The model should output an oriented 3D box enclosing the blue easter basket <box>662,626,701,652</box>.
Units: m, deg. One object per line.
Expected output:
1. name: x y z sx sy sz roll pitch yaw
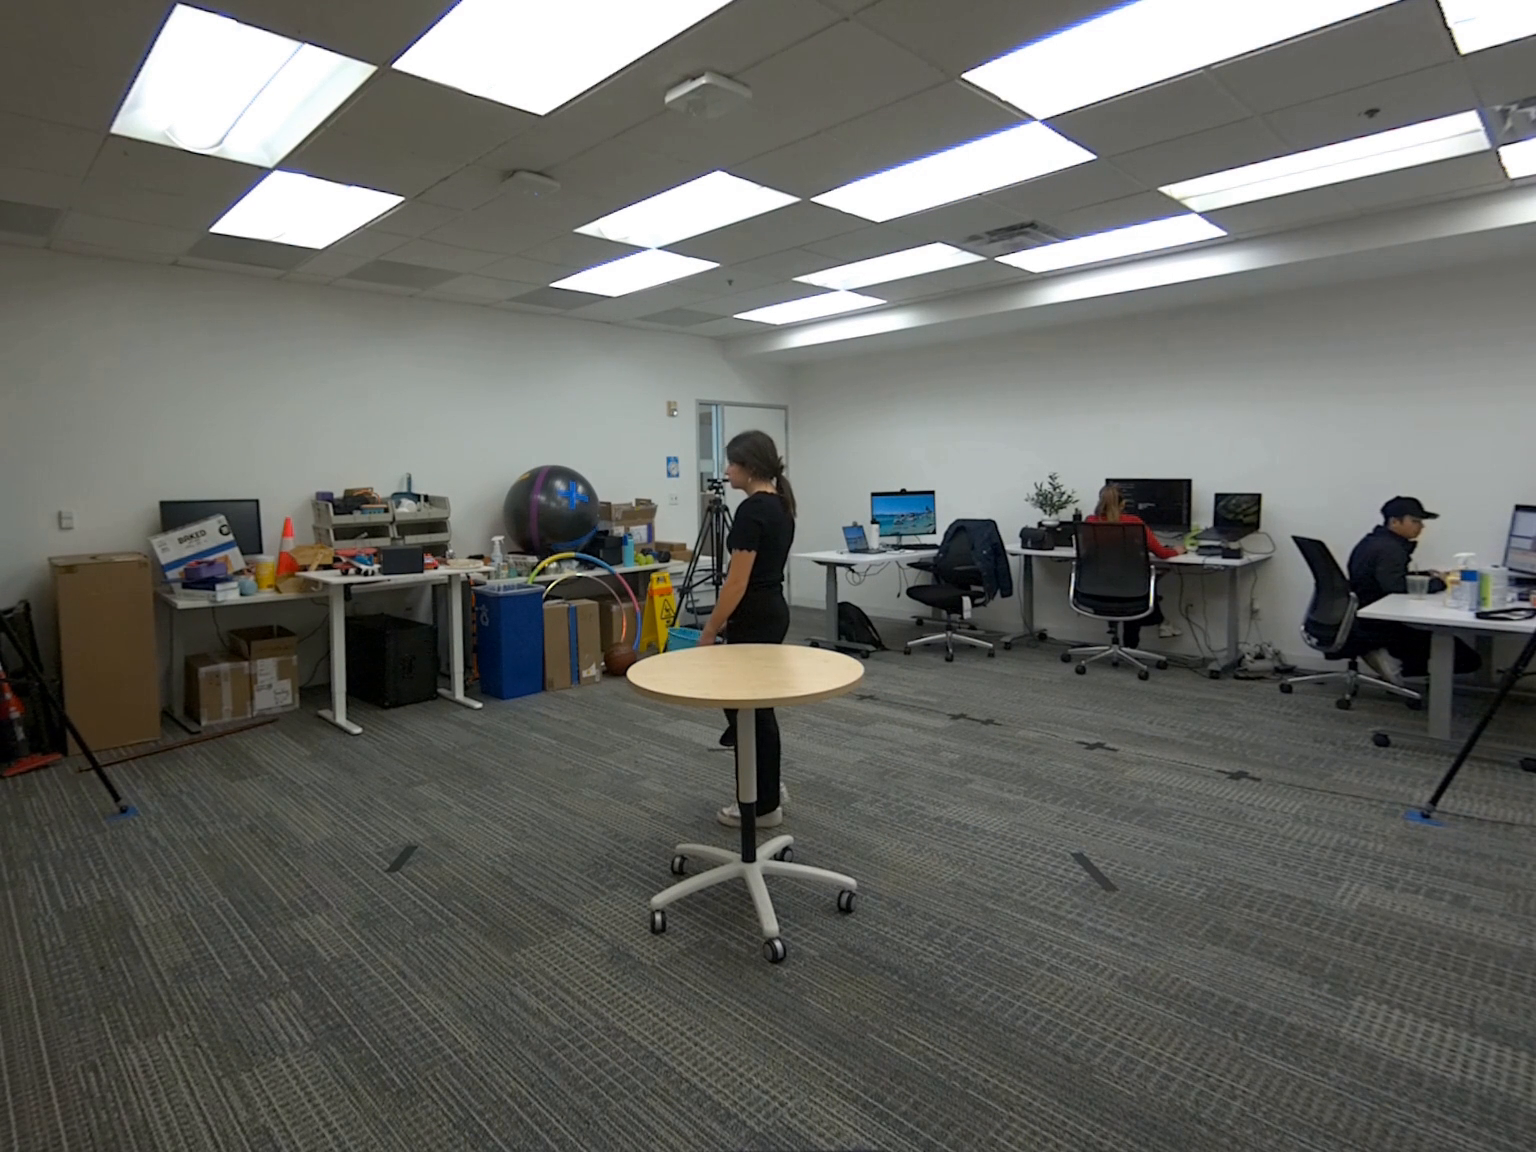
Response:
1. blue easter basket: -0.278 0.319 3.488 0.243 0.155 0.244 10 4 -2
